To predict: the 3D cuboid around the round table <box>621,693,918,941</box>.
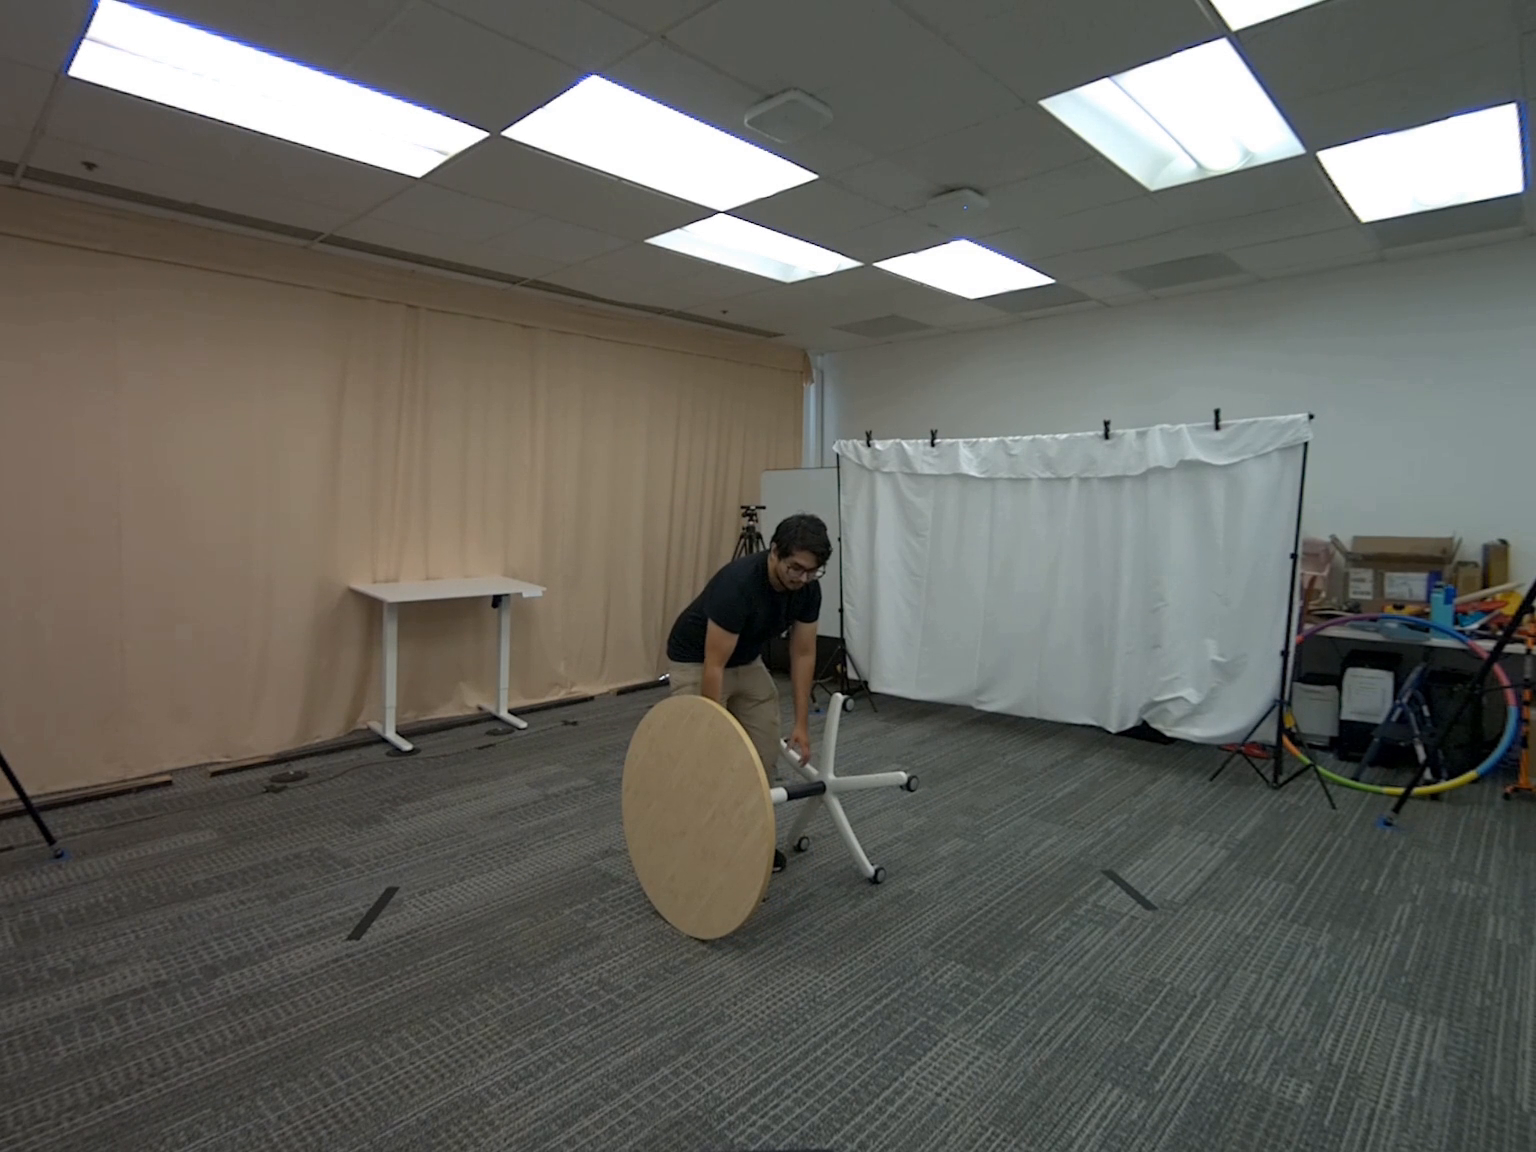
[{"bbox_3d":[0.028,0.782,3.017,0.761,0.785,0.811,2,1,-43],"label":"round table"}]
